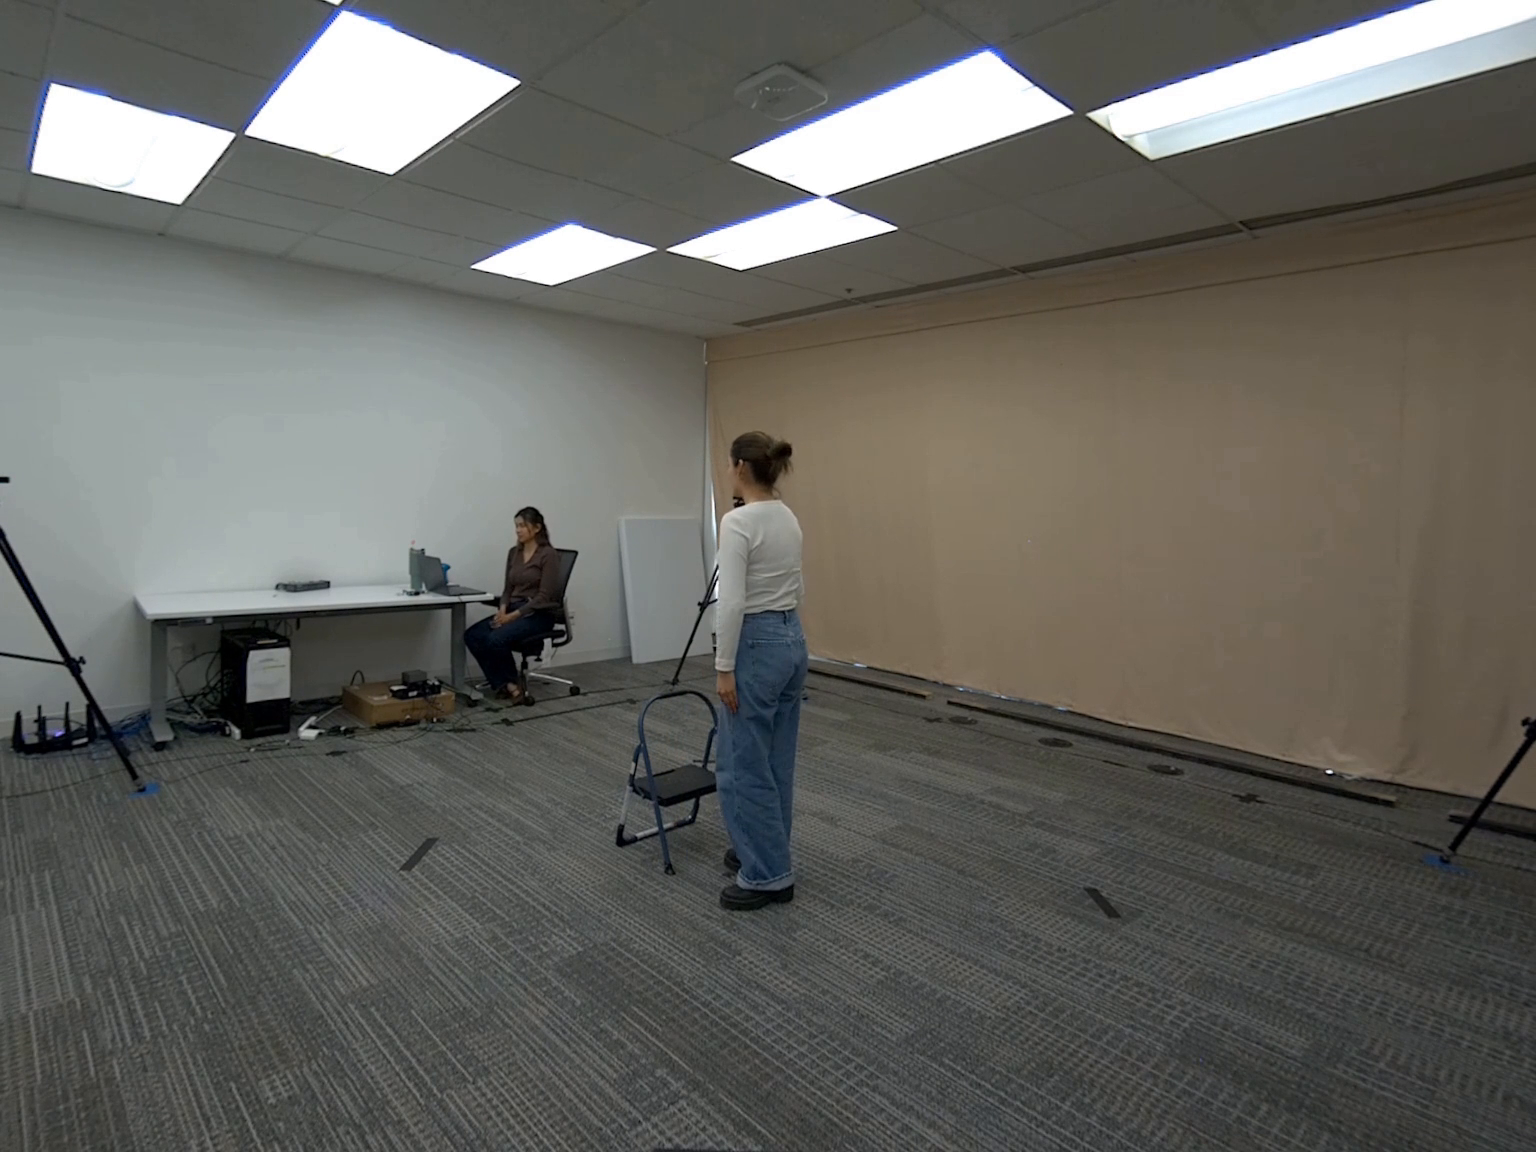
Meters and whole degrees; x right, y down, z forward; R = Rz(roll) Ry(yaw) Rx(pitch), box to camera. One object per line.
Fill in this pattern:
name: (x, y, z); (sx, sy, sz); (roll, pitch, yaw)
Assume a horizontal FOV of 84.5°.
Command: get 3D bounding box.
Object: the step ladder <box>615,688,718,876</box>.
step ladder: (-0.339, 0.771, 3.343); (0.358, 0.604, 0.421); (5, 5, 44)
